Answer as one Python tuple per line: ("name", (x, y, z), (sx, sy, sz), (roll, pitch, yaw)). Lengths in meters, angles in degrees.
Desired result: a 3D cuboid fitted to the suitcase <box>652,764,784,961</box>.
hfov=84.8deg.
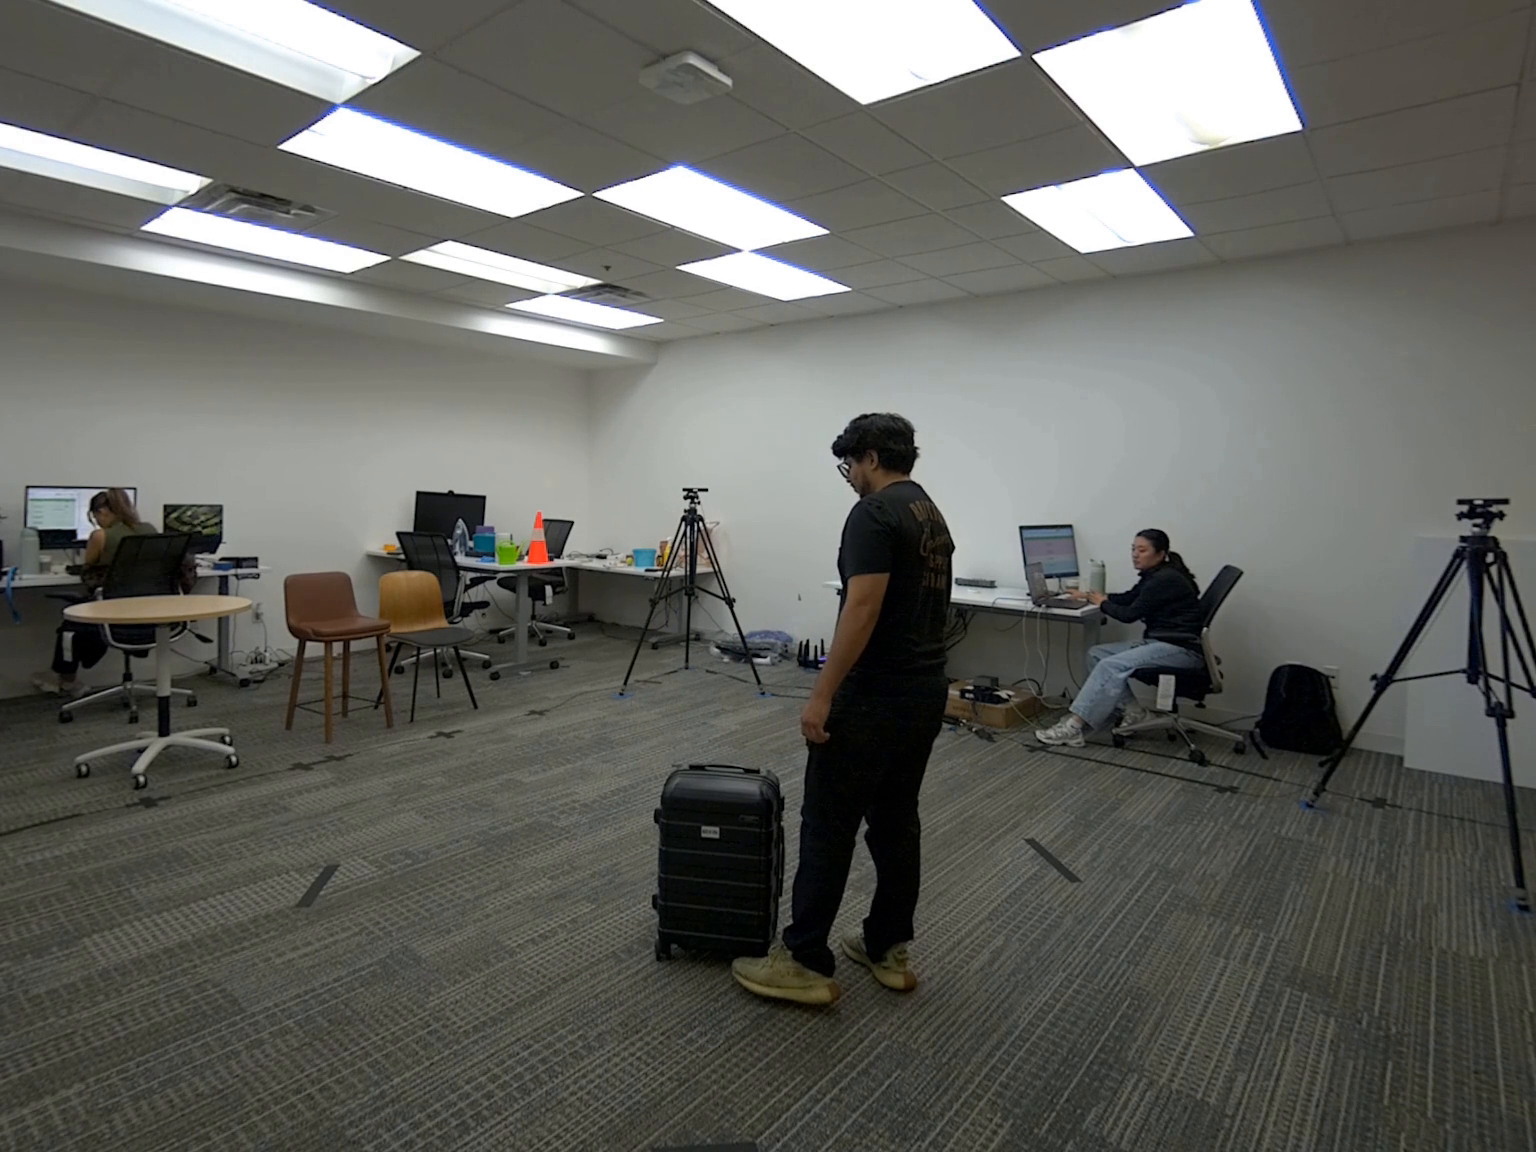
("suitcase", (-0.149, 0.849, 2.559), (0.379, 0.547, 0.247), (2, 4, 8))
